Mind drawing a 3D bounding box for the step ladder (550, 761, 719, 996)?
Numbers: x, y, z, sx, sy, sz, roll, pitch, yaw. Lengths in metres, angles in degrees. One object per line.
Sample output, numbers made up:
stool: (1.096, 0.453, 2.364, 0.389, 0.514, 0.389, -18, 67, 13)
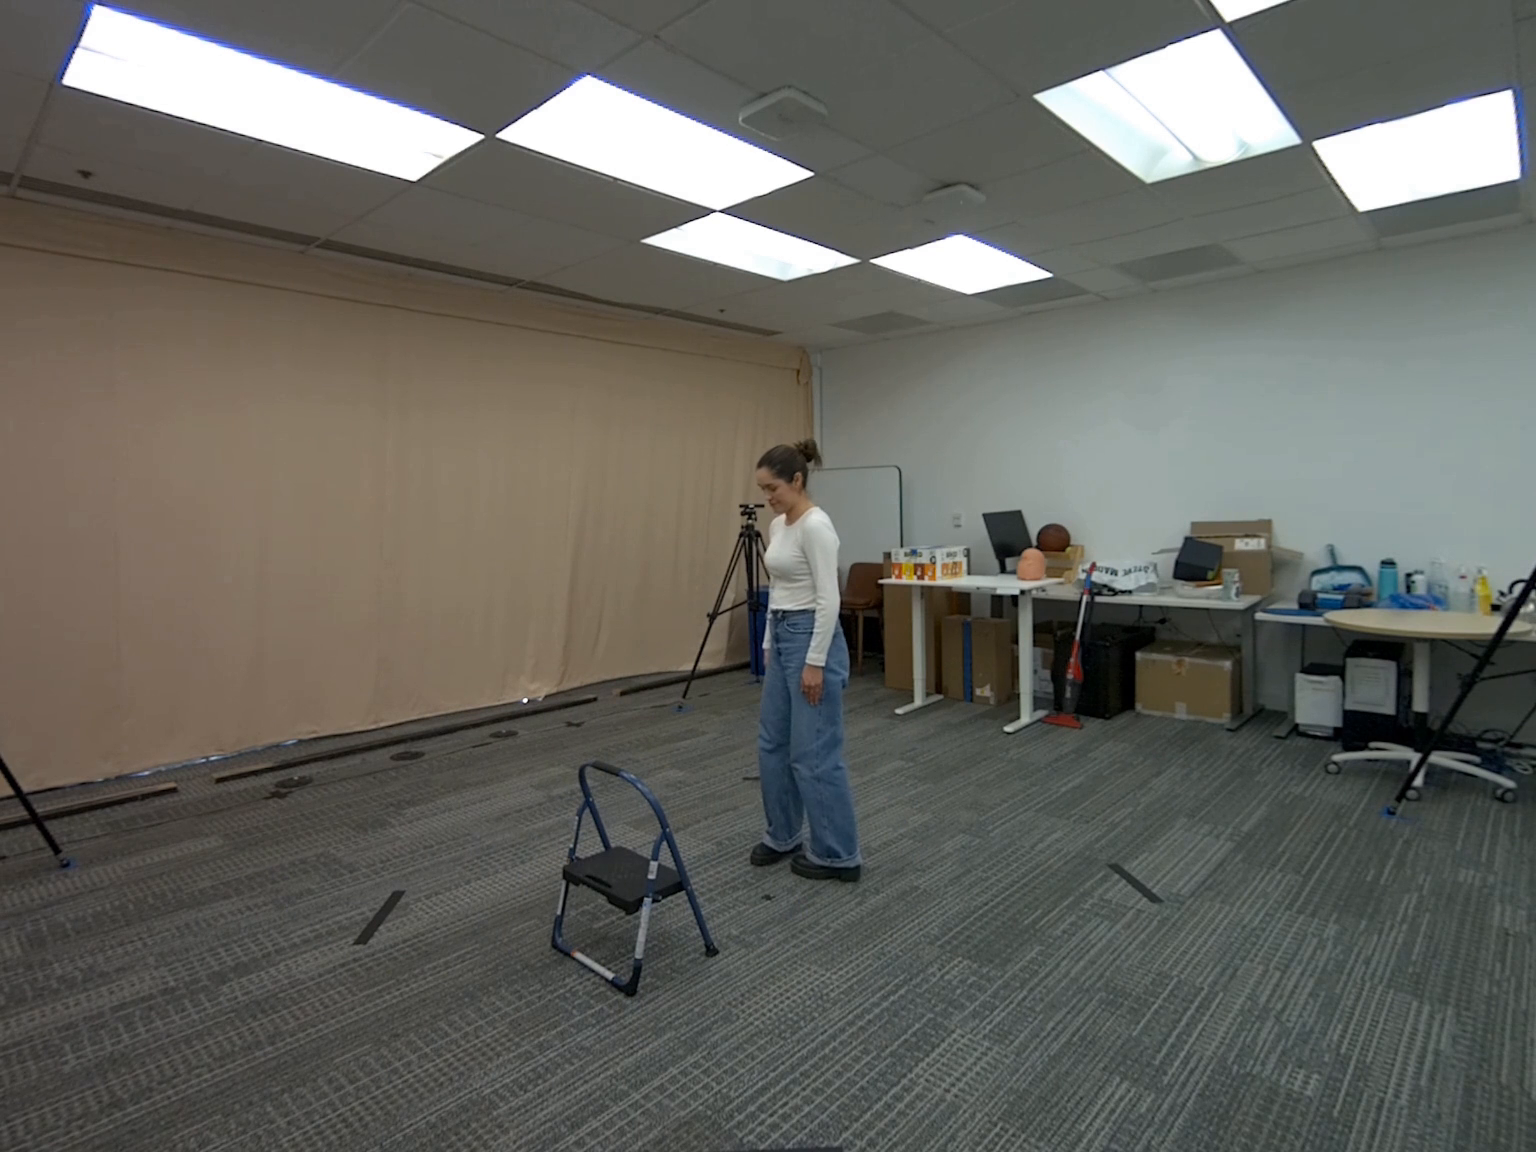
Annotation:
step ladder: (-0.429, 0.877, 2.636, 0.445, 0.605, 0.339, 2, 4, 43)
